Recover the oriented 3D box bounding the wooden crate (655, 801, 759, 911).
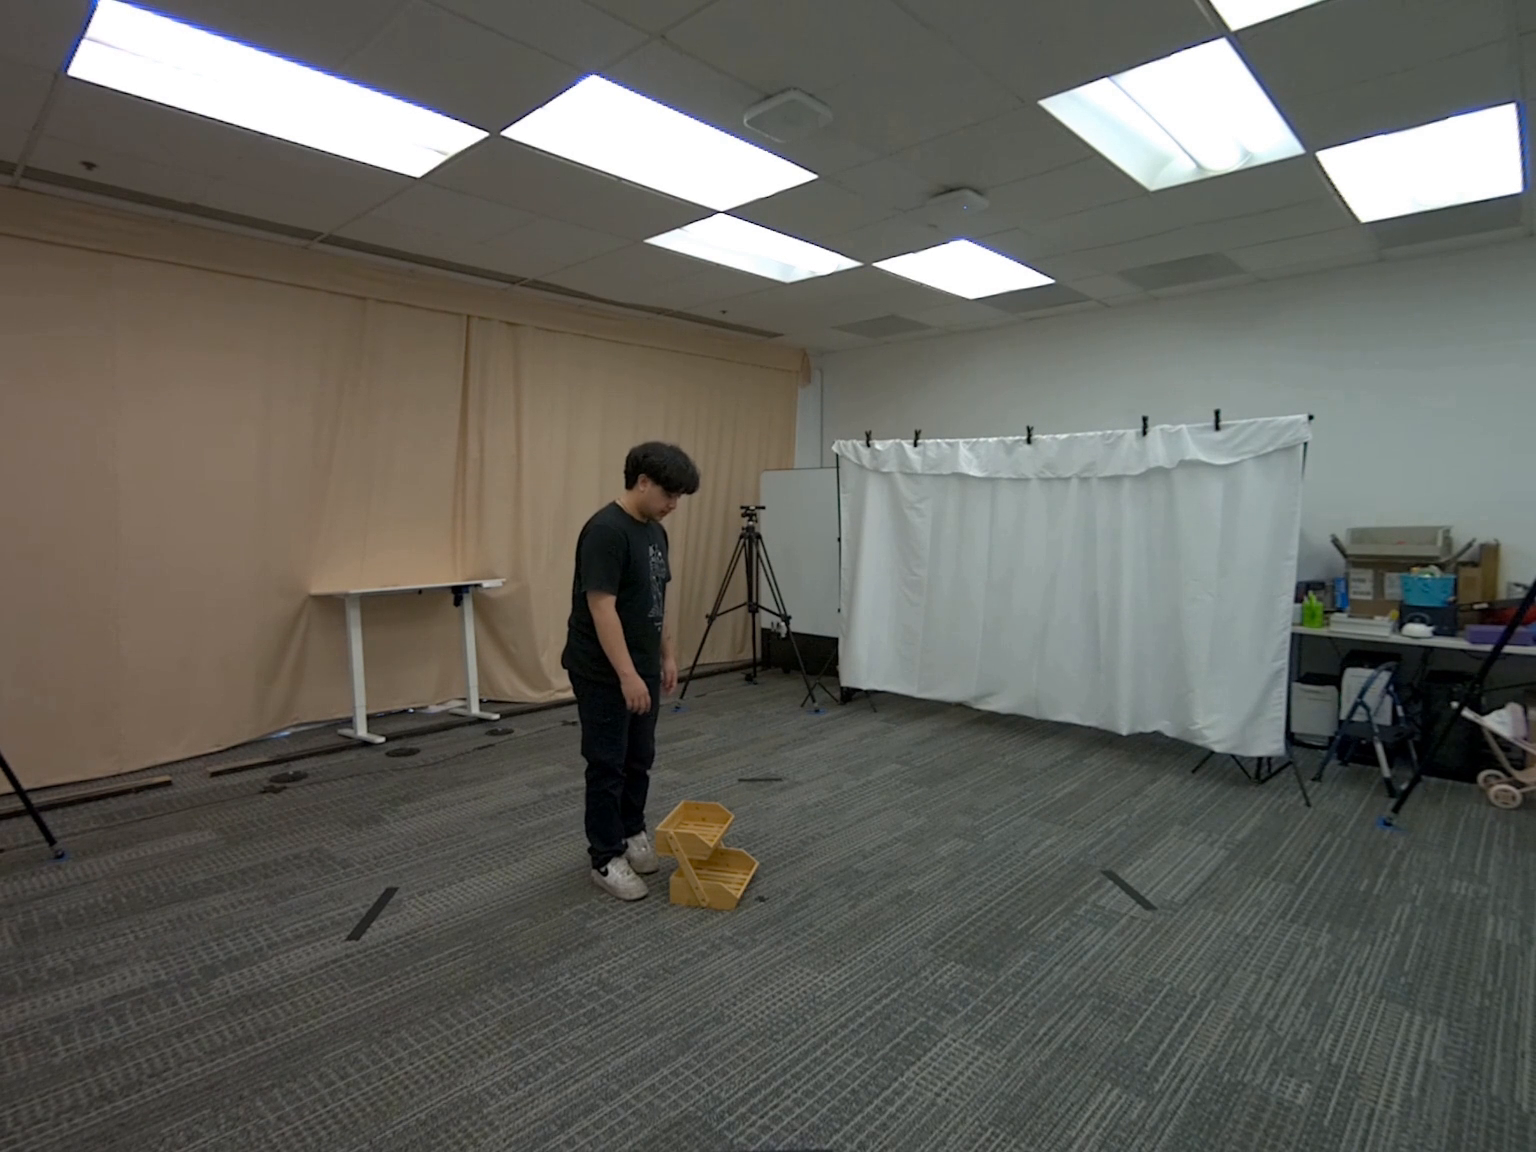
[{"bbox_3d":[-0.213,1.003,3.066,0.307,0.273,0.320,-1,4,14],"label":"wooden crate"}]
